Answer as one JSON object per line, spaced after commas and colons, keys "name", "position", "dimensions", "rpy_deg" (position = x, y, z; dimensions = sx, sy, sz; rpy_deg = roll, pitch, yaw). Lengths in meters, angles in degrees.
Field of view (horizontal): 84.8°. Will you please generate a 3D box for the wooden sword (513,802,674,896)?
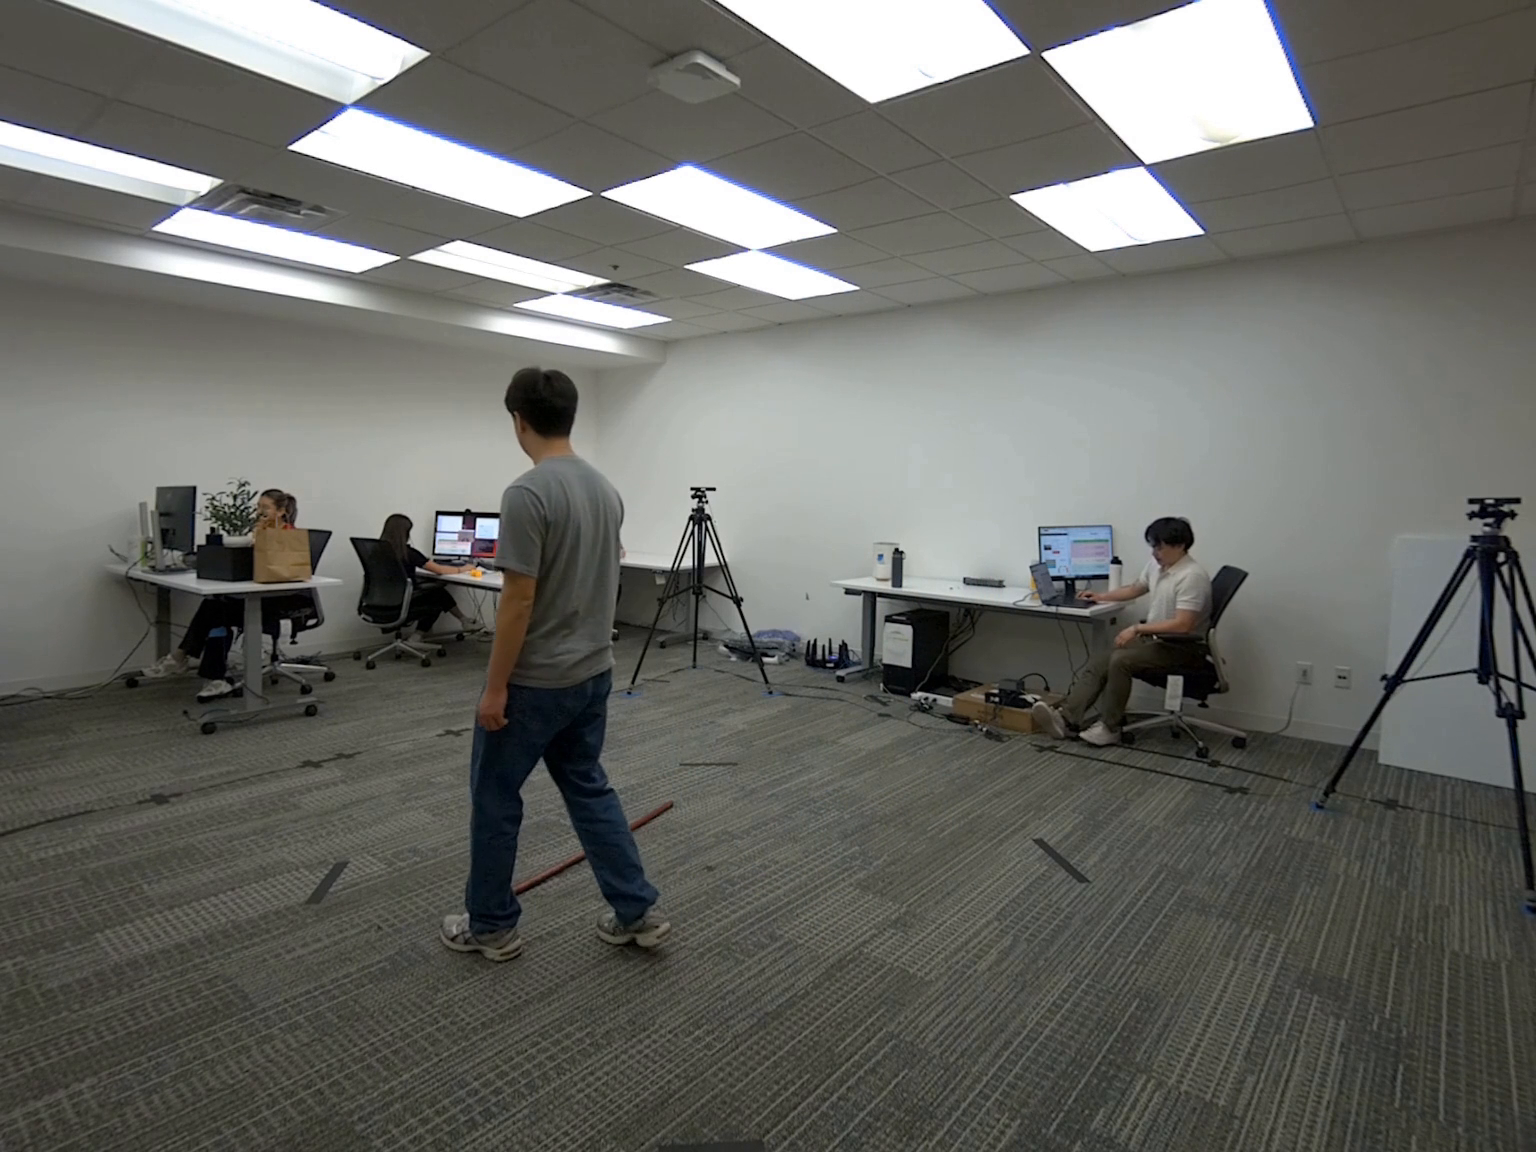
{"name": "wooden sword", "position": [-0.646, 1.019, 3.292], "dimensions": [0.053, 0.024, 1.000], "rpy_deg": [23, 15, 25]}
